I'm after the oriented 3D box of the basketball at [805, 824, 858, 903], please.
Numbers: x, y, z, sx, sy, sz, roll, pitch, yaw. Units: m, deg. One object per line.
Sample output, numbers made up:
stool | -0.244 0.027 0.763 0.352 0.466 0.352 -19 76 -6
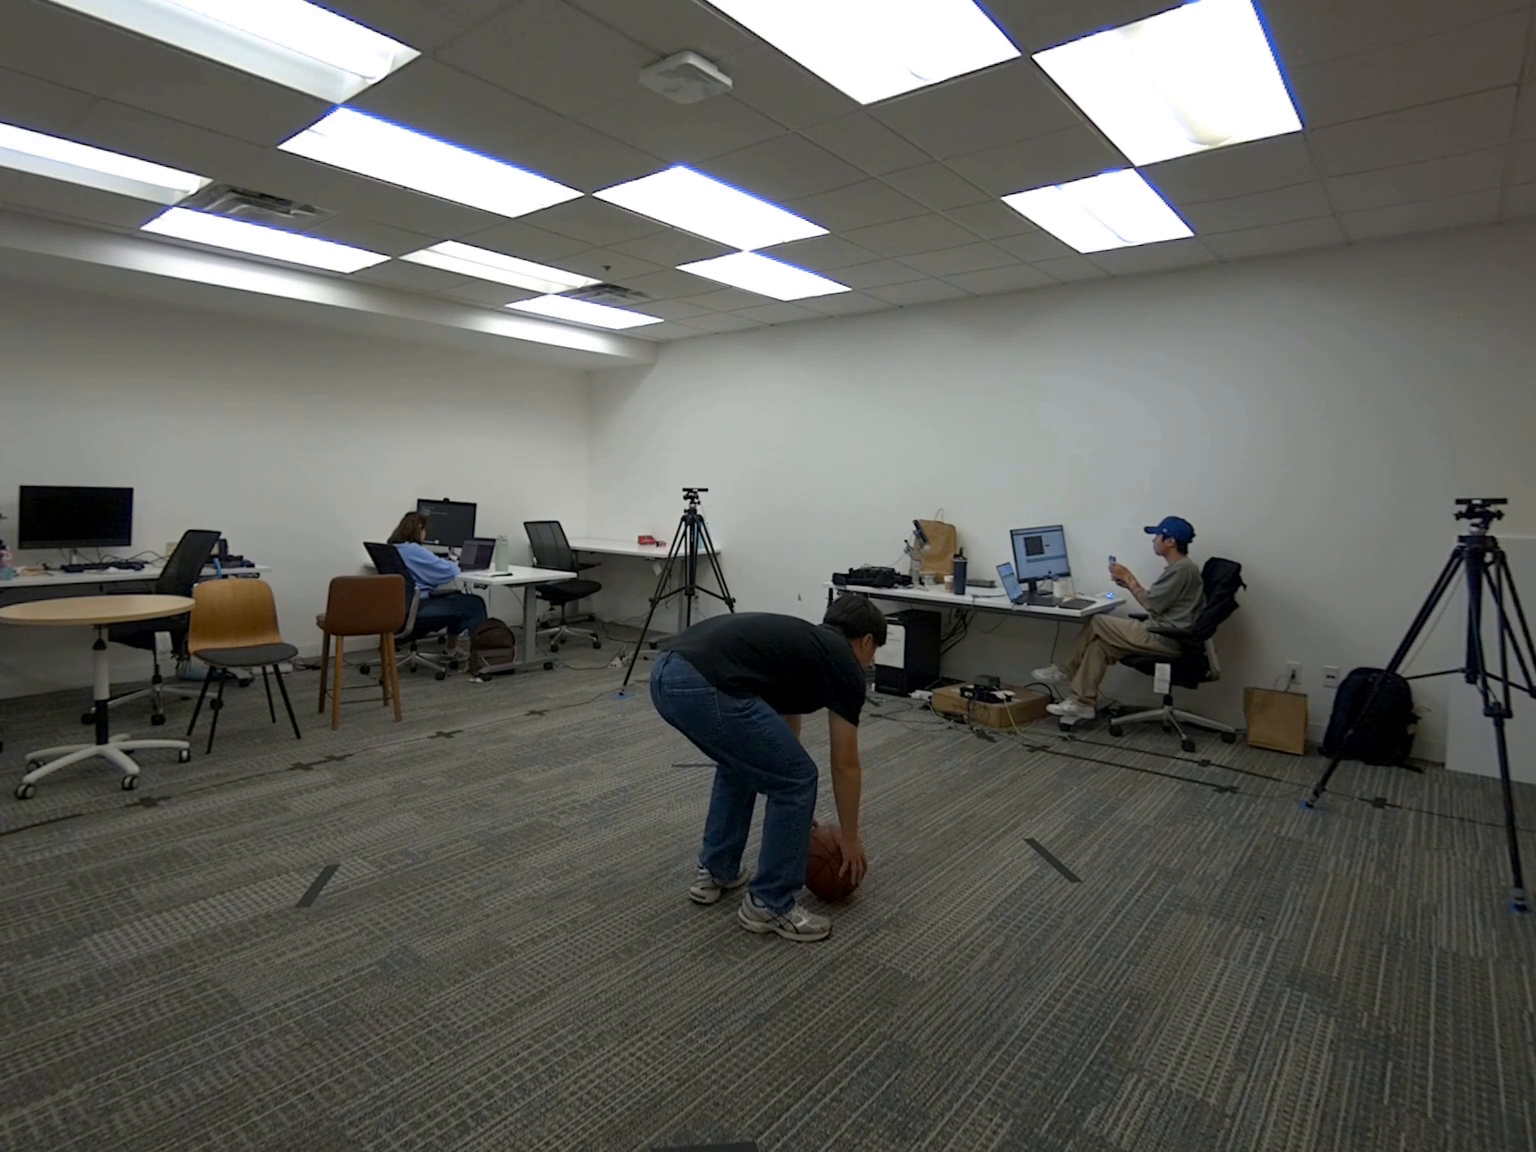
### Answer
basketball | 0.220 0.973 2.916 0.235 0.235 0.237 1 4 -2
